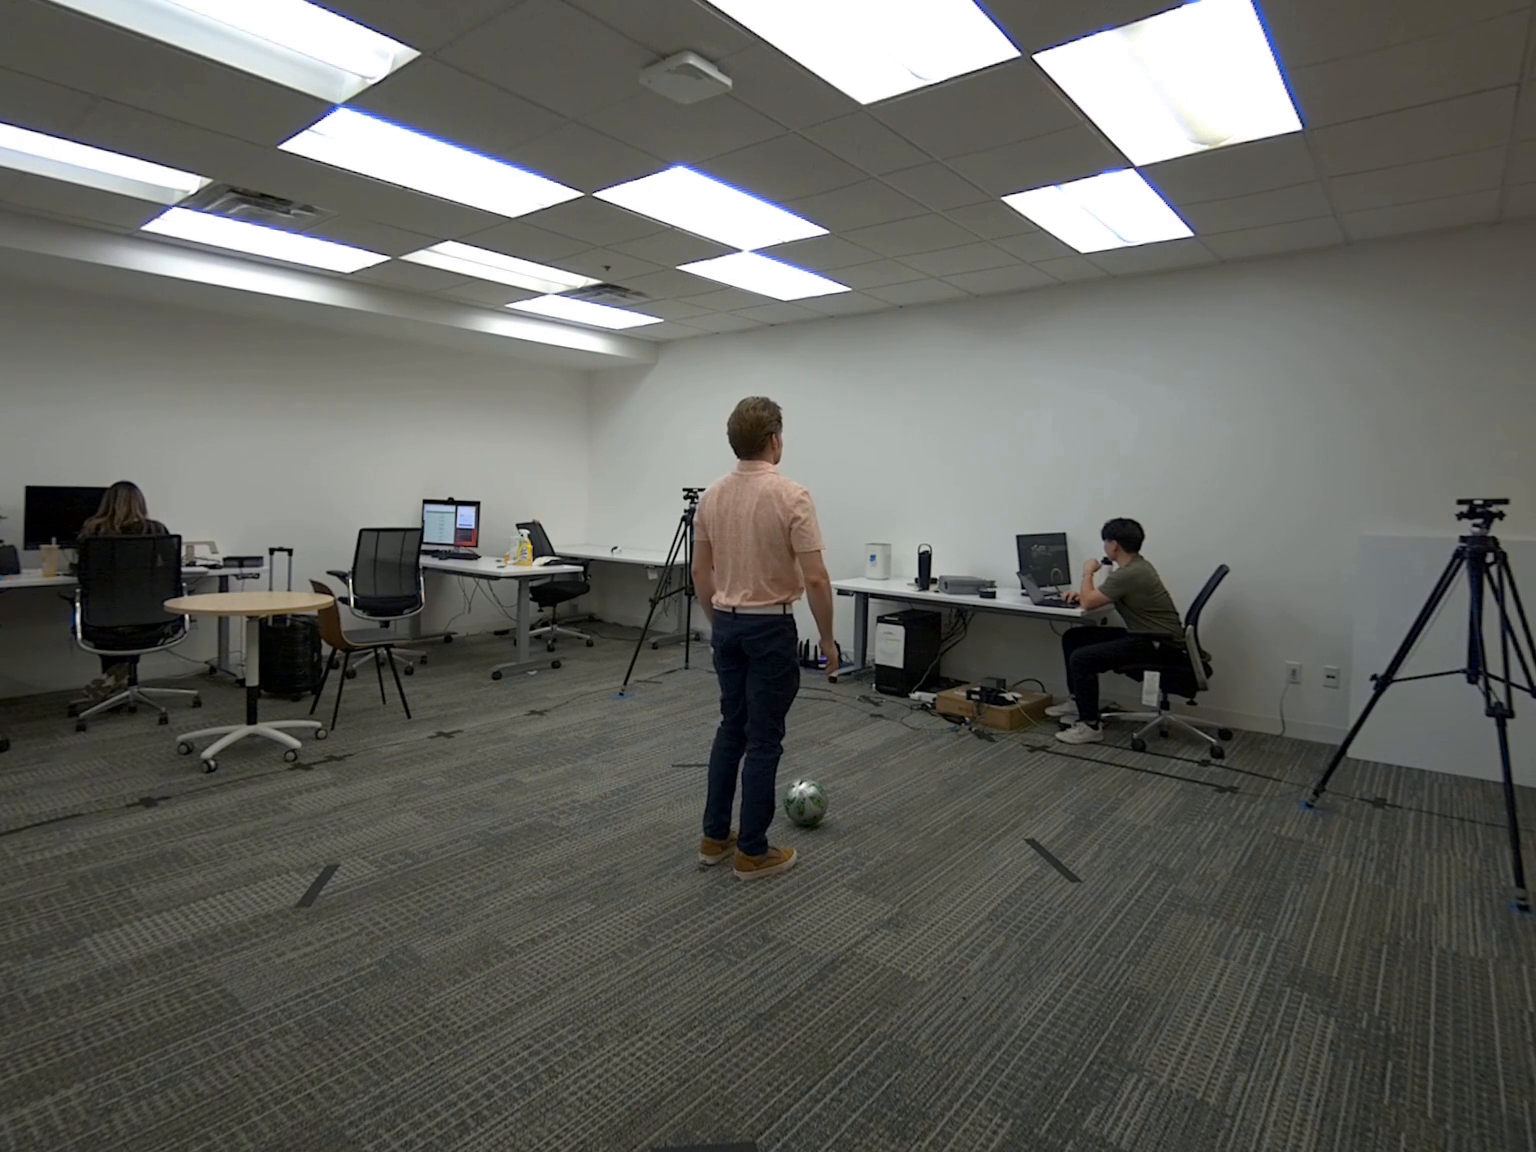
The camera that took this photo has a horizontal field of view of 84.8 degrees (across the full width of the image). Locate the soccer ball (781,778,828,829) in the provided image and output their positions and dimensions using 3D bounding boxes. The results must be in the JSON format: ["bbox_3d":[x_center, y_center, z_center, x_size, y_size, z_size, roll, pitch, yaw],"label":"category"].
[{"bbox_3d":[0.147,0.947,3.552,0.187,0.187,0.188,1,4,-2],"label":"soccer ball"}]
